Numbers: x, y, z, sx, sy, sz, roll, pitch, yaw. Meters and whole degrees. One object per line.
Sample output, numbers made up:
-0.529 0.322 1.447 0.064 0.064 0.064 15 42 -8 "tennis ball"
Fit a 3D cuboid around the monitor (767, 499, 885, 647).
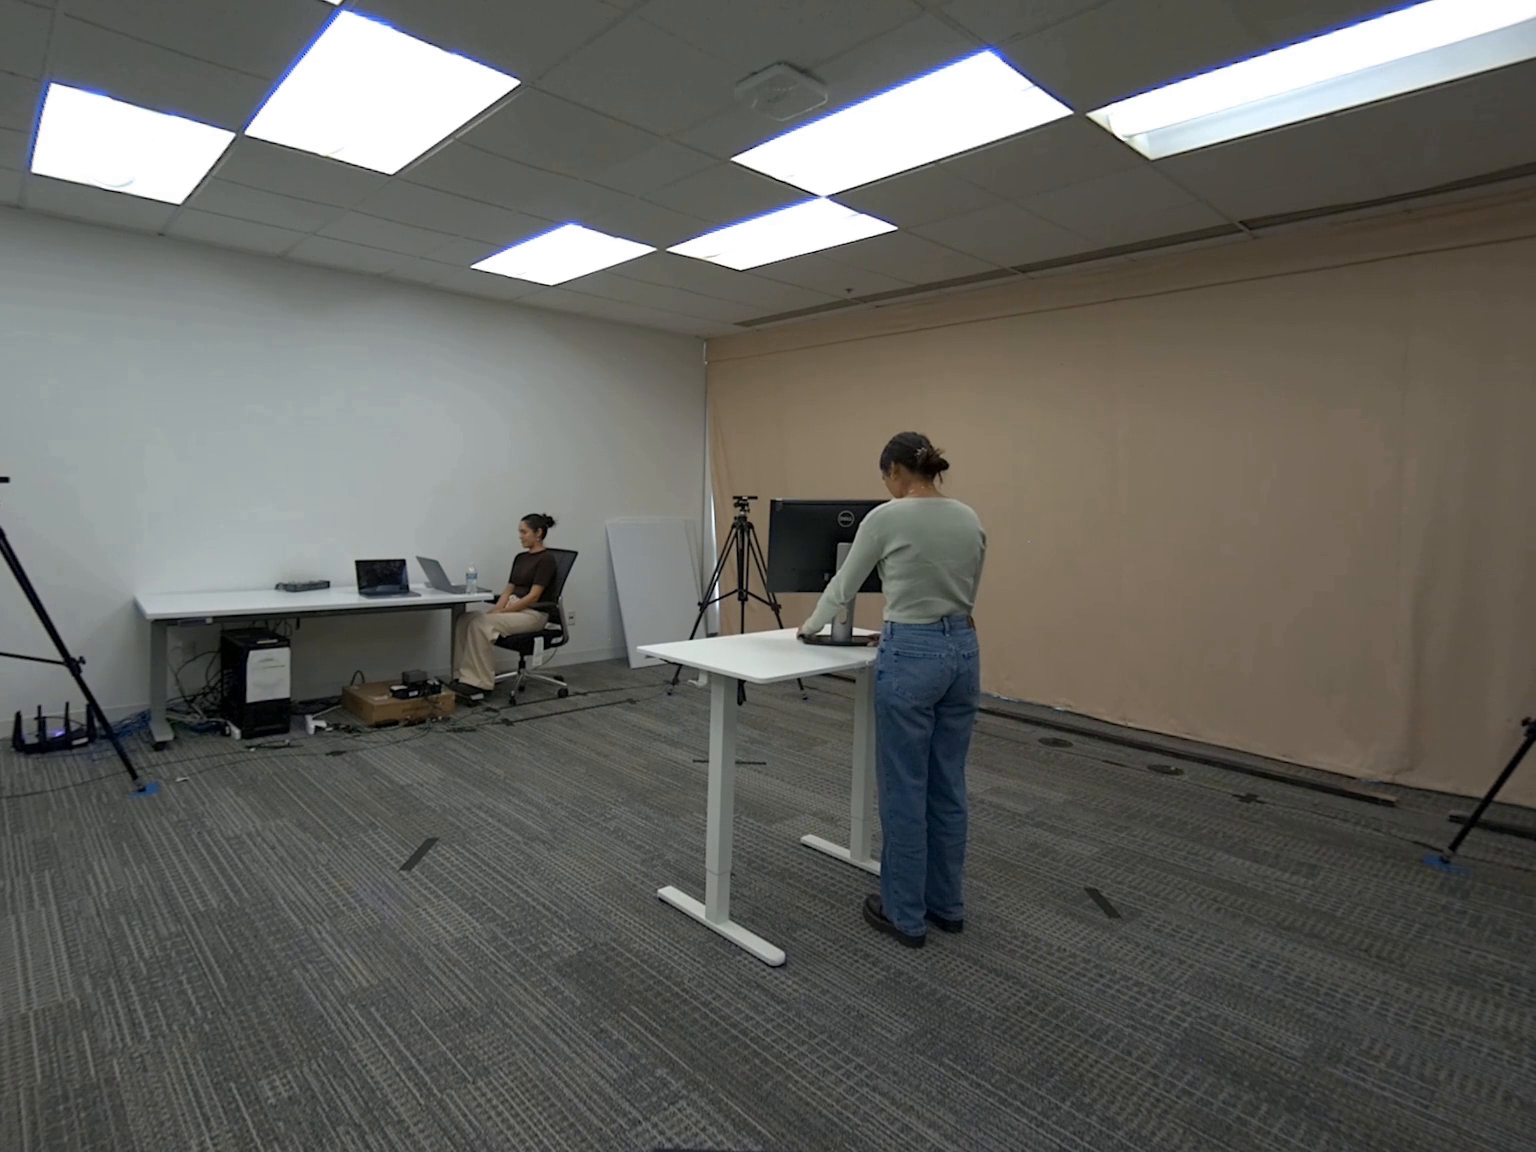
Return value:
0.258 -0.019 3.011 0.530 0.516 0.174 0 -1 -1 "monitor"
